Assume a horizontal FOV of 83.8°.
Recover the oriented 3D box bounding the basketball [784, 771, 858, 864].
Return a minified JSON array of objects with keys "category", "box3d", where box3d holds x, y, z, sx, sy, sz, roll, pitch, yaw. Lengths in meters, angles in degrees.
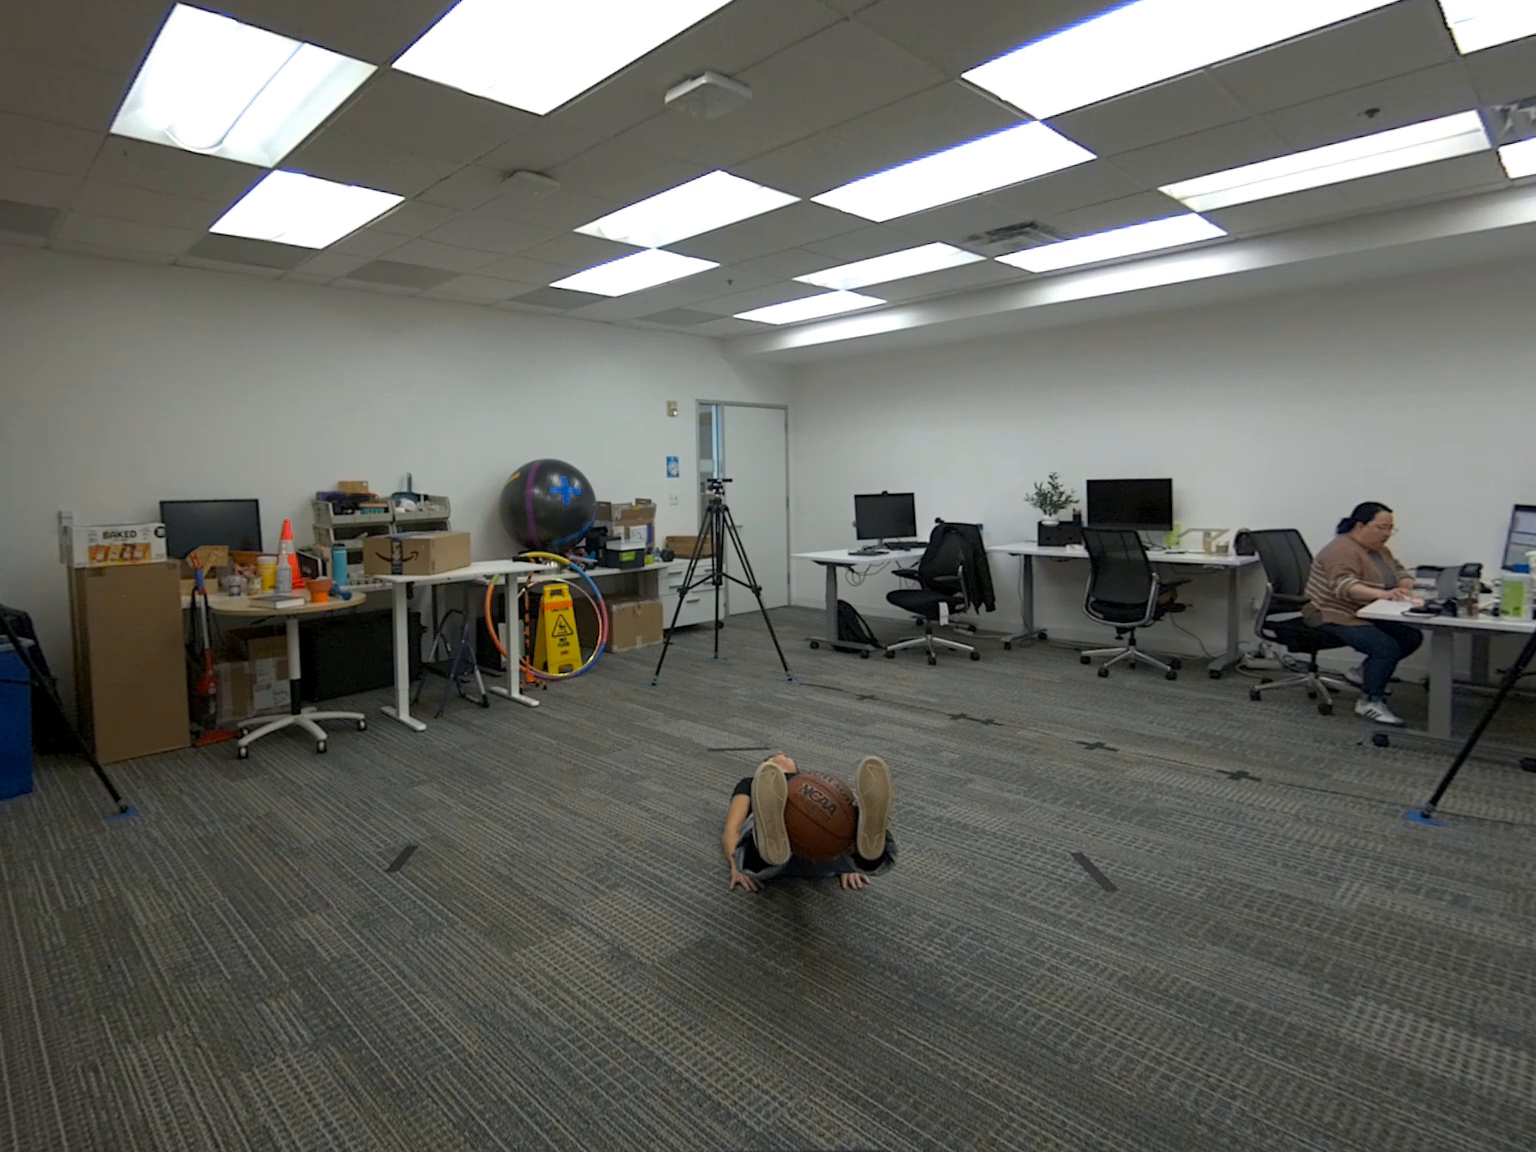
[{"category":"basketball","box3d":[0.139,0.676,2.382,0.236,0.235,0.237,-1,5,-2]}]
